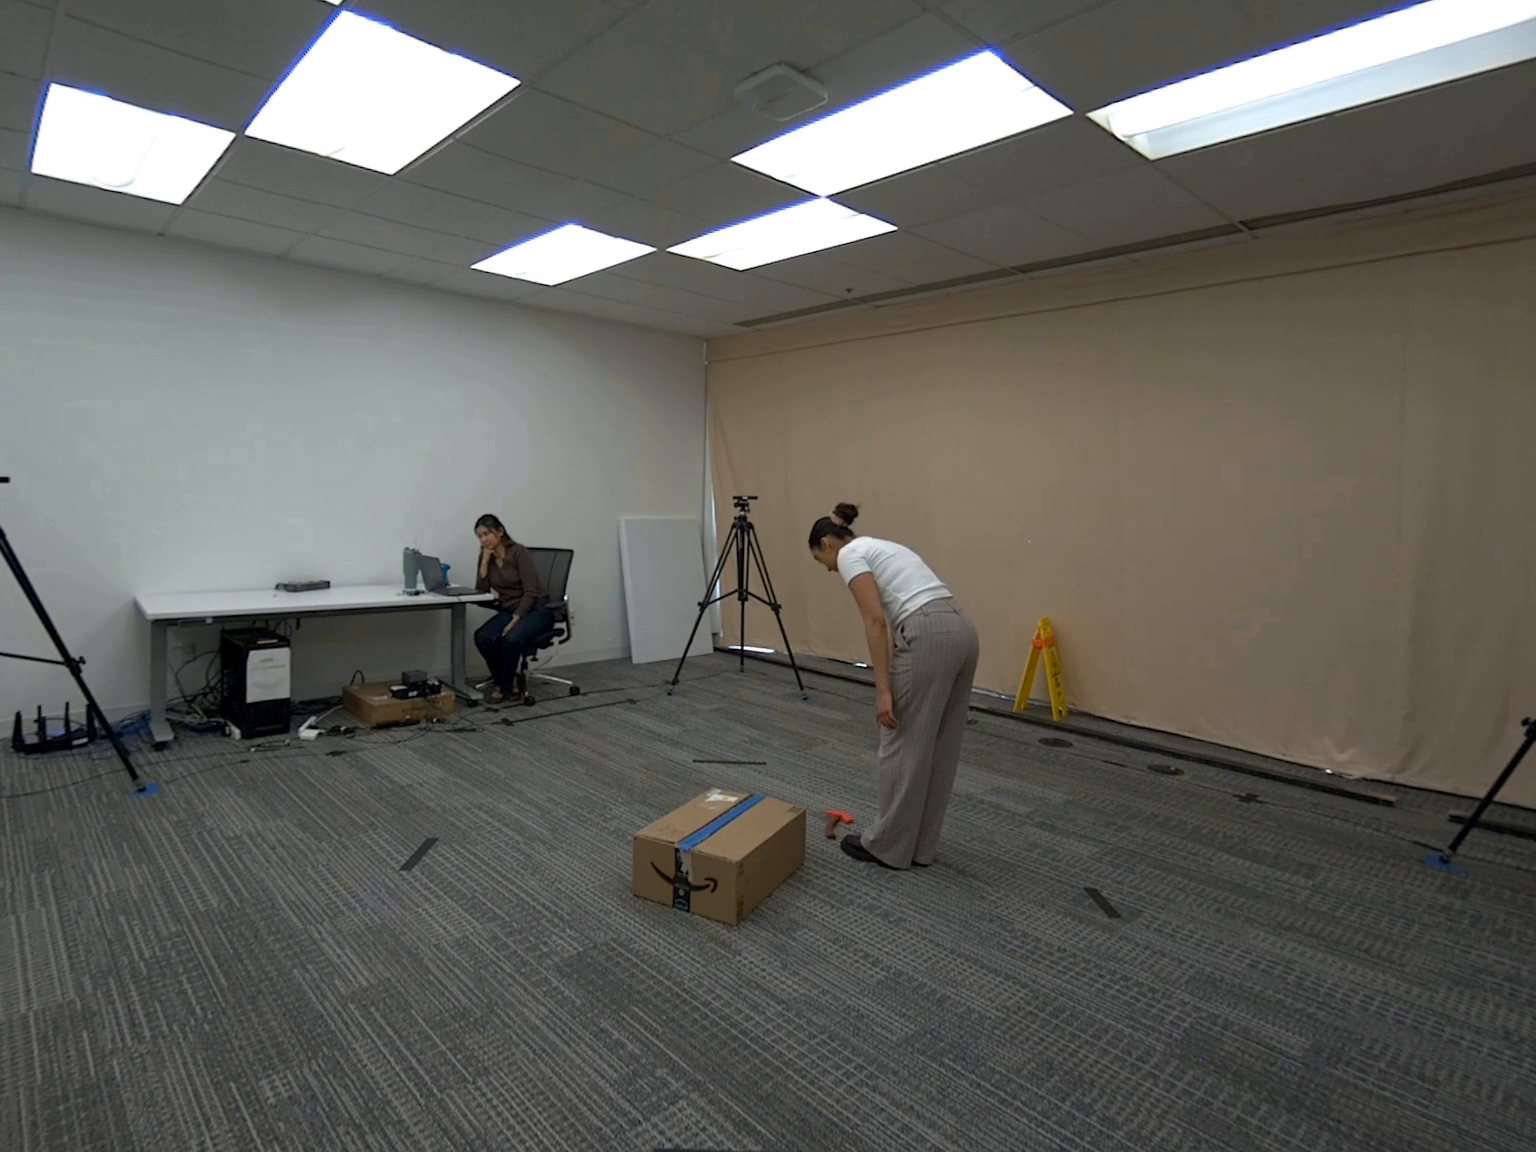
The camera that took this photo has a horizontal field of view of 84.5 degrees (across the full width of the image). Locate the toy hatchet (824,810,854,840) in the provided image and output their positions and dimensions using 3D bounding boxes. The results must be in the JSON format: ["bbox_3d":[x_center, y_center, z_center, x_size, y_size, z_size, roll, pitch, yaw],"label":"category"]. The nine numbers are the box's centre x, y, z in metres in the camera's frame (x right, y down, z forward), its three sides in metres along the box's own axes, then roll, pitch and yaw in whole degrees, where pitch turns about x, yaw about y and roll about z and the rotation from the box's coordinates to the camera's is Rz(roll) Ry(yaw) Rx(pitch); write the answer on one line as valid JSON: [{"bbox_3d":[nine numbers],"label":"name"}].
[{"bbox_3d":[0.300,1.062,3.583,0.131,0.029,0.271,4,7,1],"label":"toy hatchet"}]
